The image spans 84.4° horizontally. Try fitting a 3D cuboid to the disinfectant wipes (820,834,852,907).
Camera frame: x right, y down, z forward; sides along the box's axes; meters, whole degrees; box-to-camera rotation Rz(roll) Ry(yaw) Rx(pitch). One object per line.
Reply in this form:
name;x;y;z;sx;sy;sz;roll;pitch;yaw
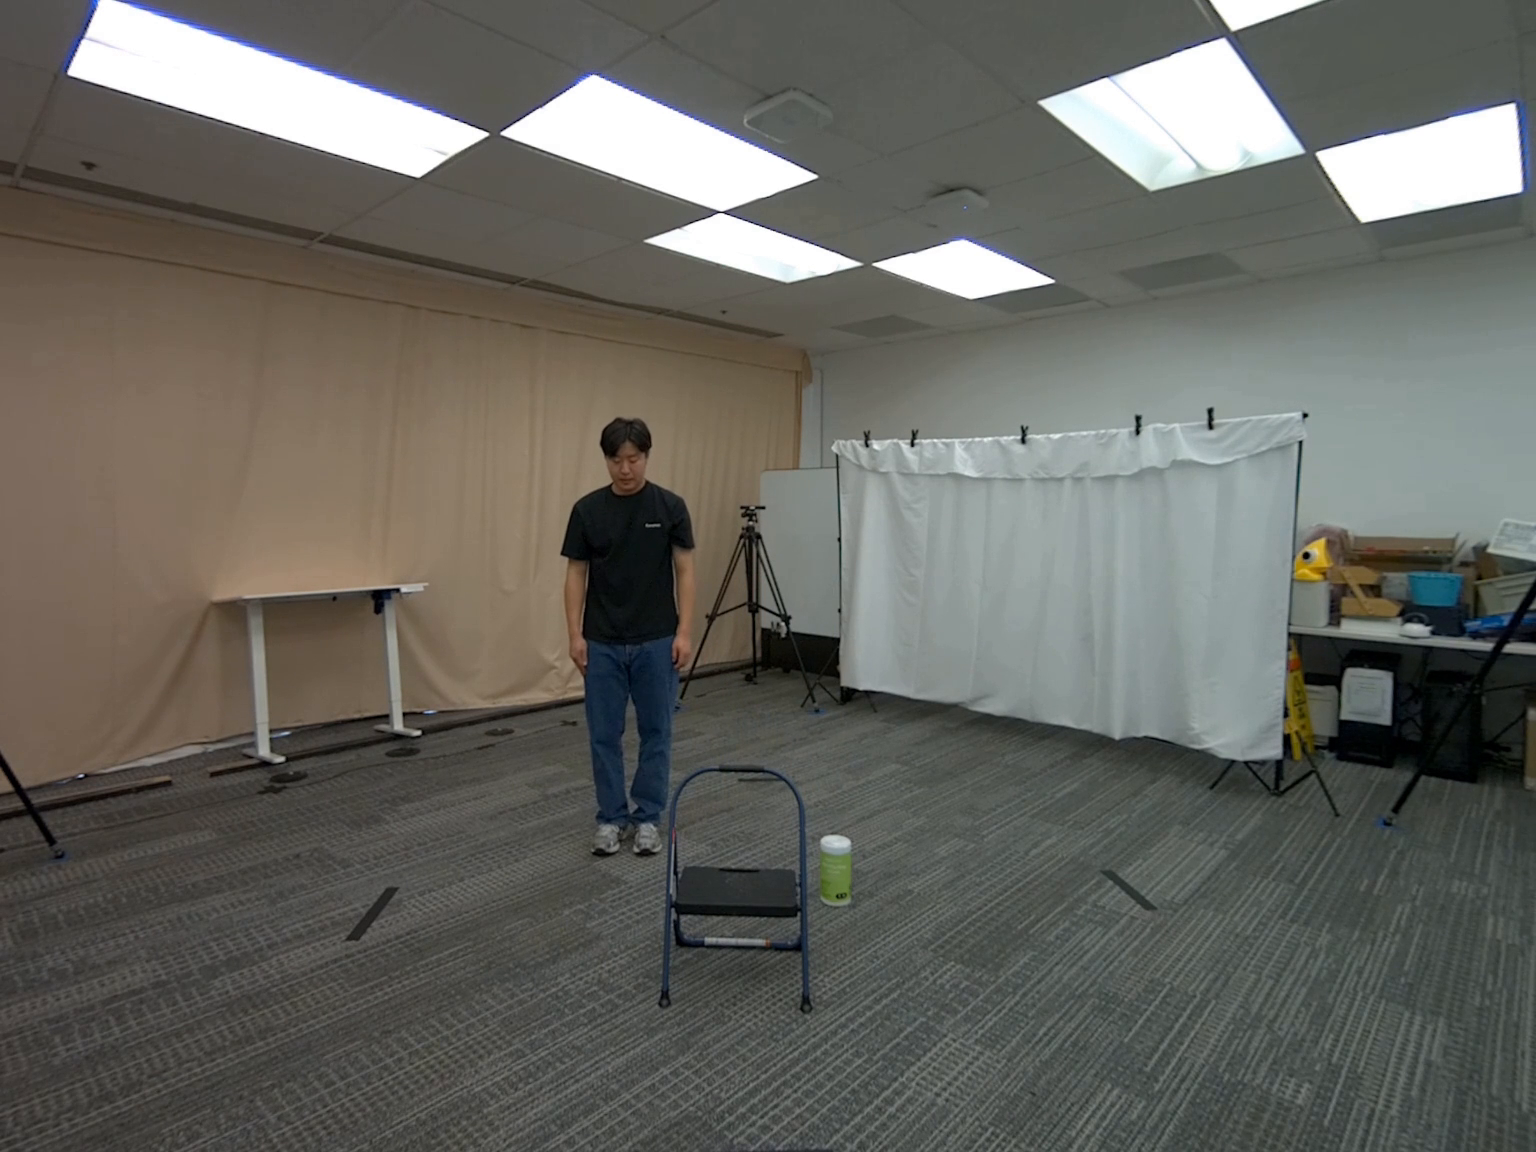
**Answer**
disinfectant wipes;0.240;1.038;2.964;0.118;0.217;0.118;-1;4;-2
